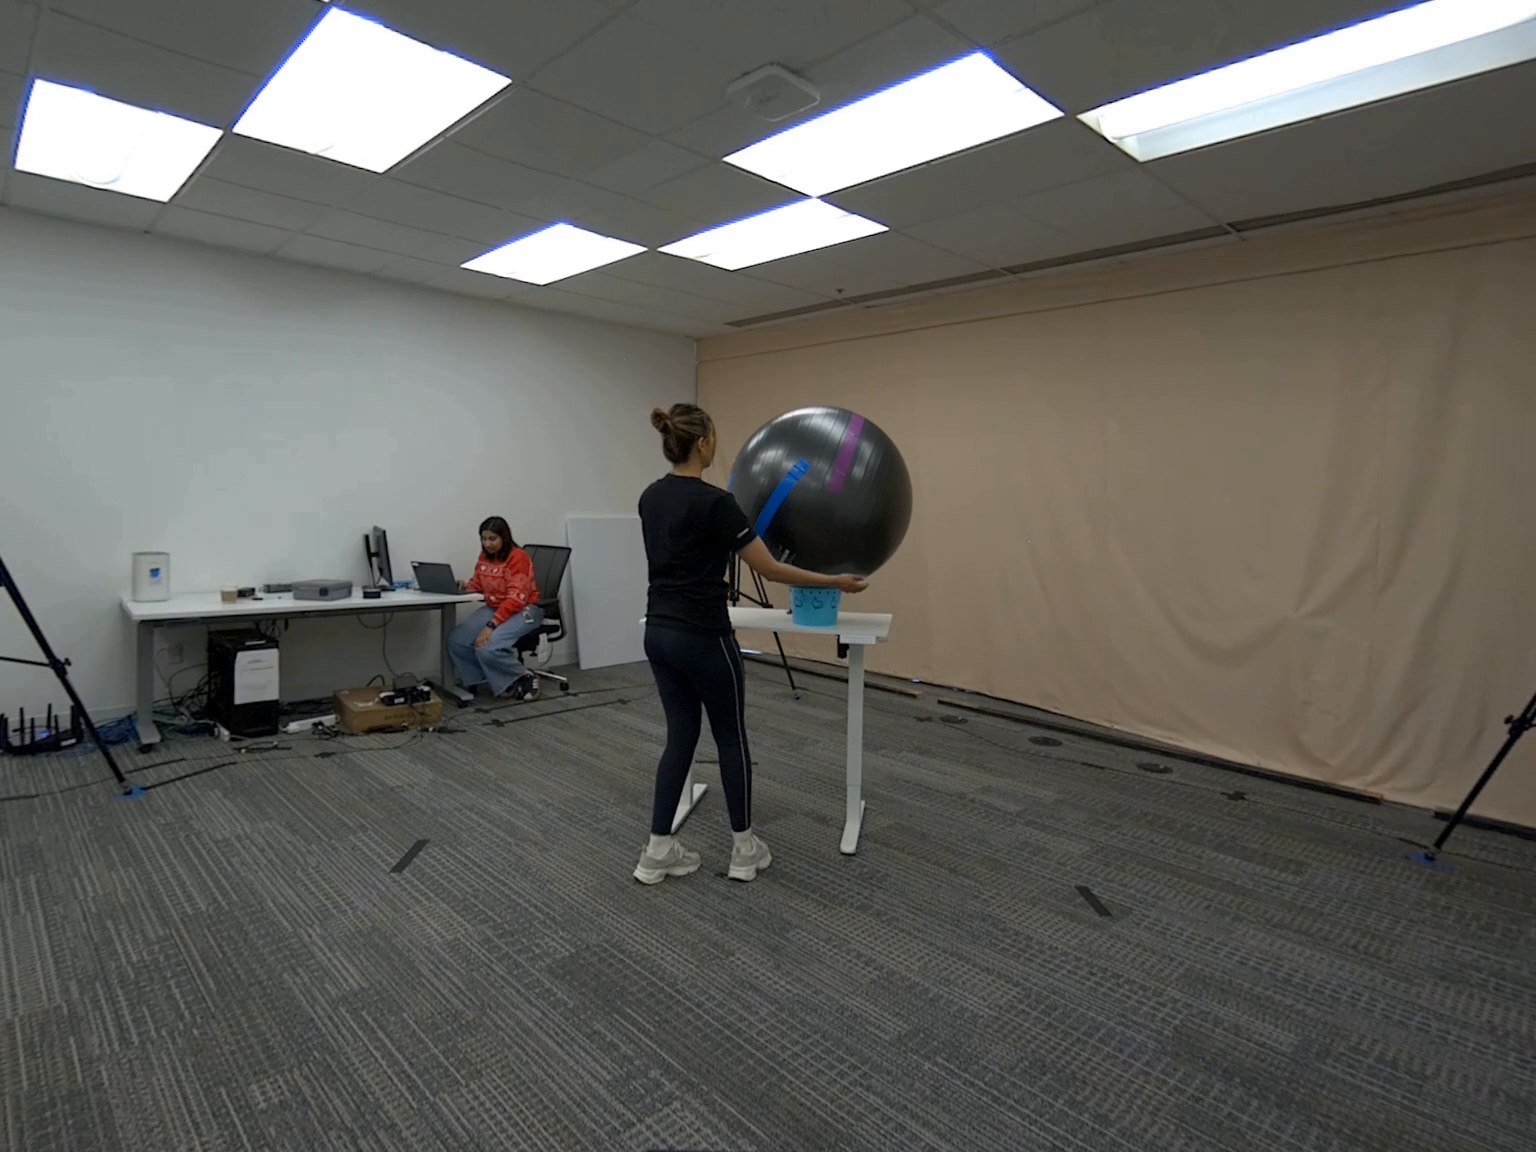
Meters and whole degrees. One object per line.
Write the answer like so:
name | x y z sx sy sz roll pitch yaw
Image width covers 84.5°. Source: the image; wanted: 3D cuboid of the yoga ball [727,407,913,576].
yoga ball | 0.210 -0.316 3.462 0.757 0.756 0.761 1 4 -1
